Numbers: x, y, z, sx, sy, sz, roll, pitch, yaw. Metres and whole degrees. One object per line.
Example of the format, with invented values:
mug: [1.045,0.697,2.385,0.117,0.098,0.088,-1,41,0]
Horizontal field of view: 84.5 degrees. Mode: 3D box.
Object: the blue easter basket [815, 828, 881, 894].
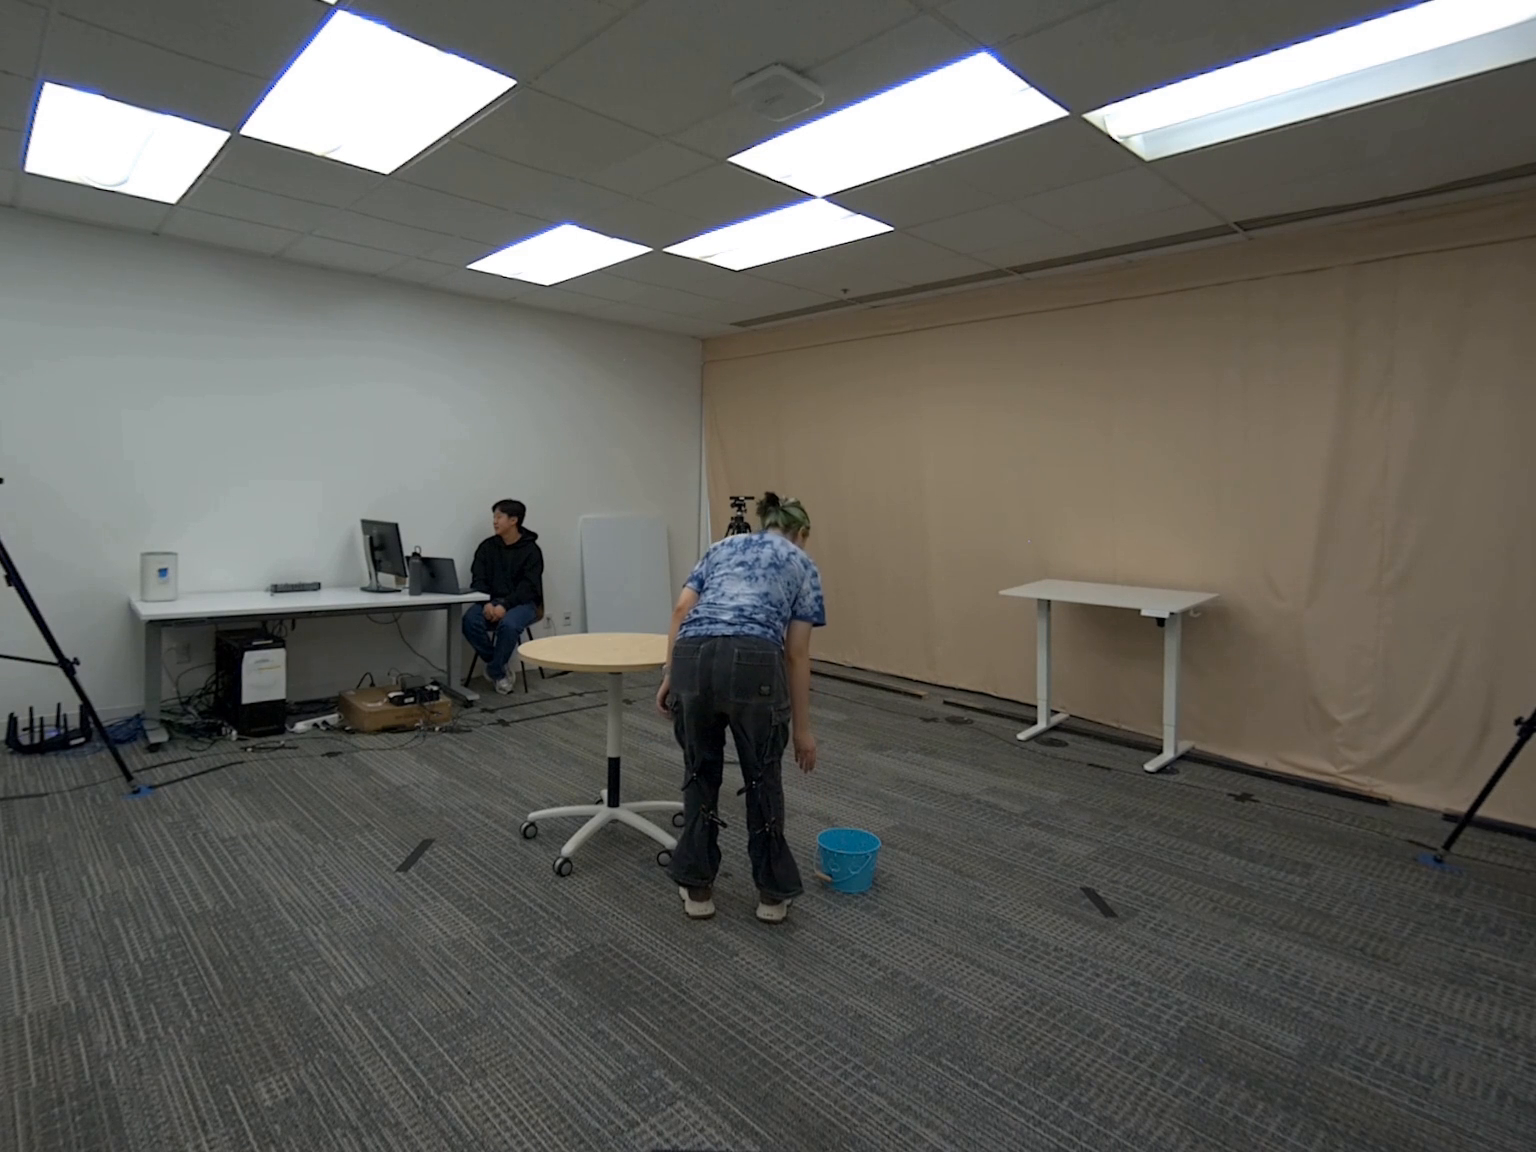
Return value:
blue easter basket: [0.281,1.037,3.074,0.243,0.155,0.244,2,4,-1]
